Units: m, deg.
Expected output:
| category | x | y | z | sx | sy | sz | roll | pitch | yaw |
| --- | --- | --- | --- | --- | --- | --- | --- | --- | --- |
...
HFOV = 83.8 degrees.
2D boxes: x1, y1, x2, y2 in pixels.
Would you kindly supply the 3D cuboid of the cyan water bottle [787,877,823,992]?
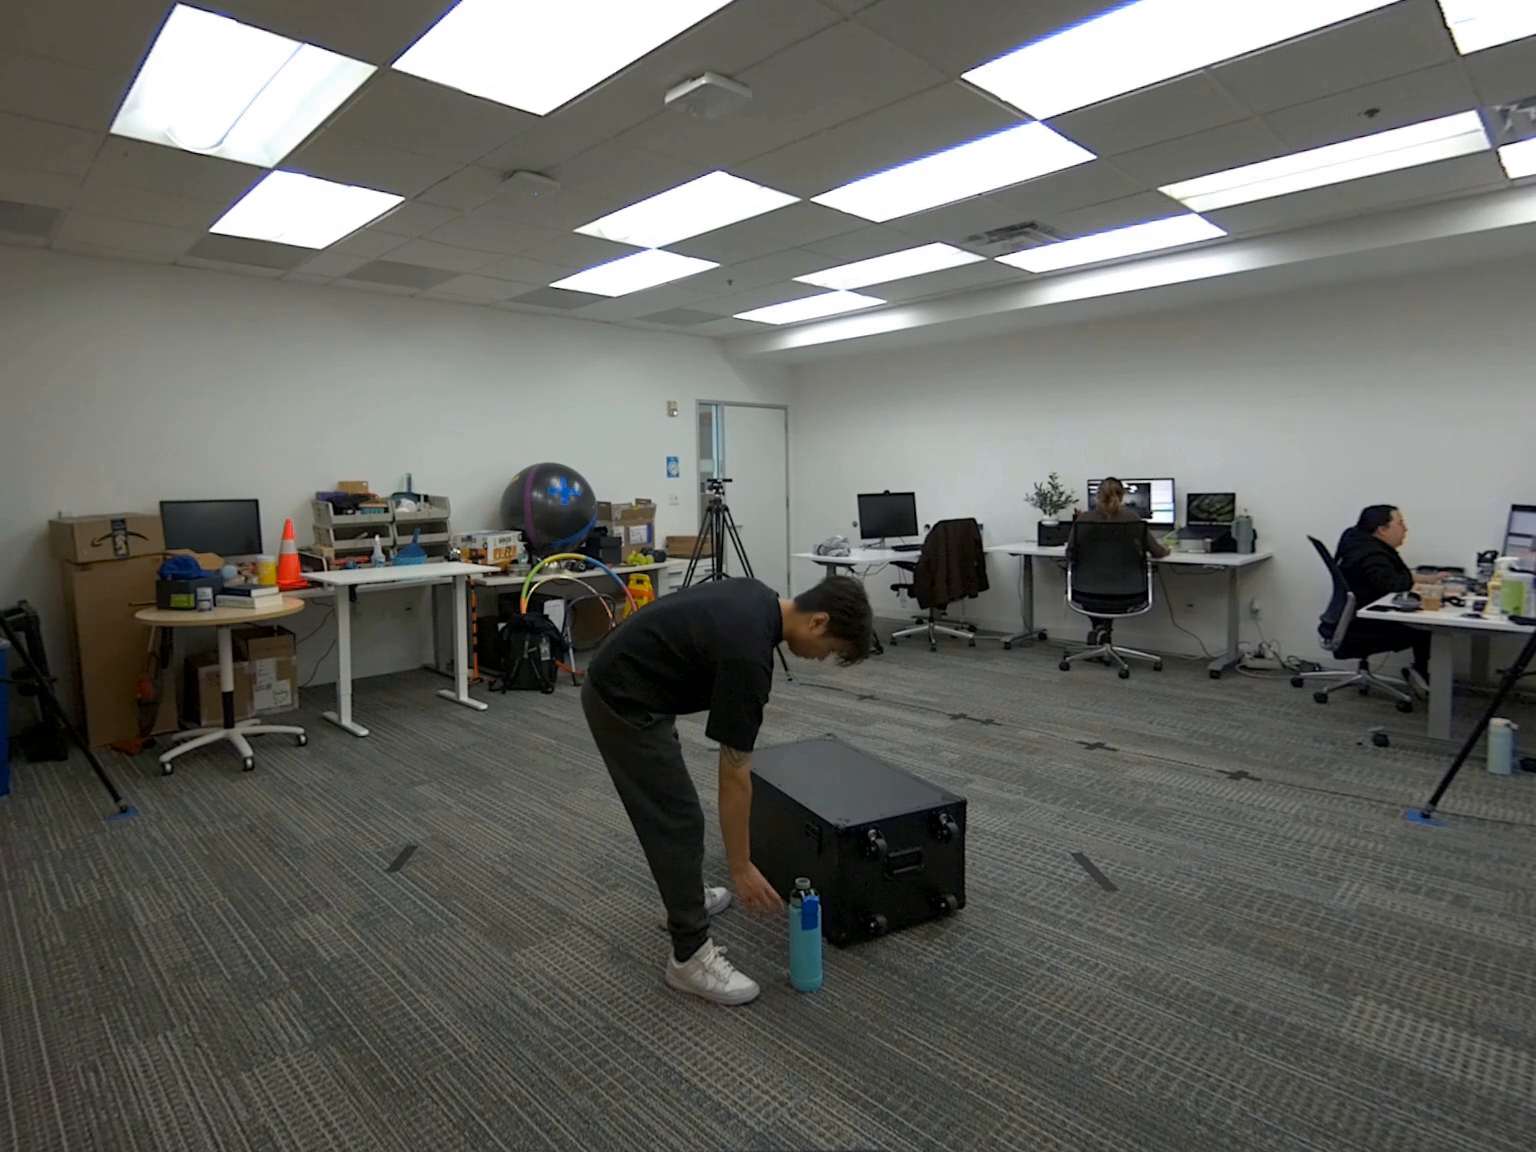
| category | x | y | z | sx | sy | sz | roll | pitch | yaw |
| --- | --- | --- | --- | --- | --- | --- | --- | --- | --- |
| cyan water bottle | 0.105 | 0.990 | 2.358 | 0.092 | 0.282 | 0.093 | -1 | 6 | -1 |
